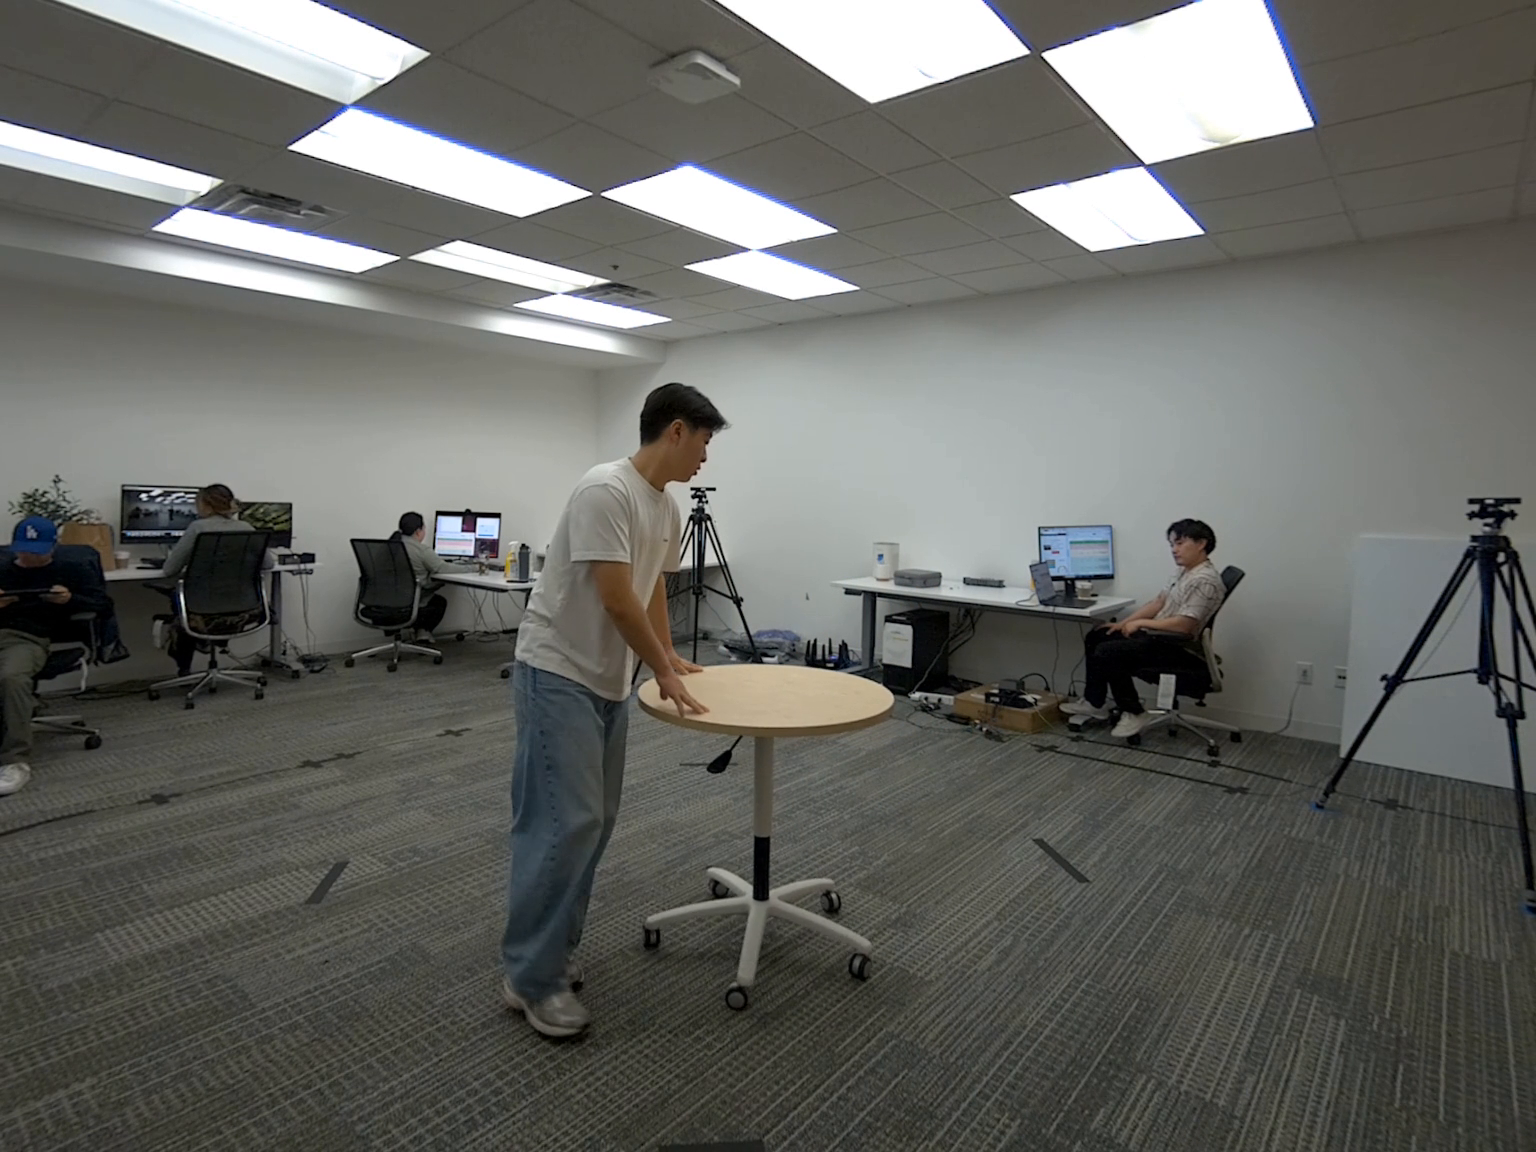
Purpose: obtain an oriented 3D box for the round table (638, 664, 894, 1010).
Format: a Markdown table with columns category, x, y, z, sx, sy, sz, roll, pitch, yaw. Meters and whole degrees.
| category | x | y | z | sx | sy | sz | roll | pitch | yaw |
| --- | --- | --- | --- | --- | --- | --- | --- | --- | --- |
| round table | -0.025 | 0.736 | 2.588 | 0.763 | 0.791 | 0.768 | 1 | 5 | -2 |
